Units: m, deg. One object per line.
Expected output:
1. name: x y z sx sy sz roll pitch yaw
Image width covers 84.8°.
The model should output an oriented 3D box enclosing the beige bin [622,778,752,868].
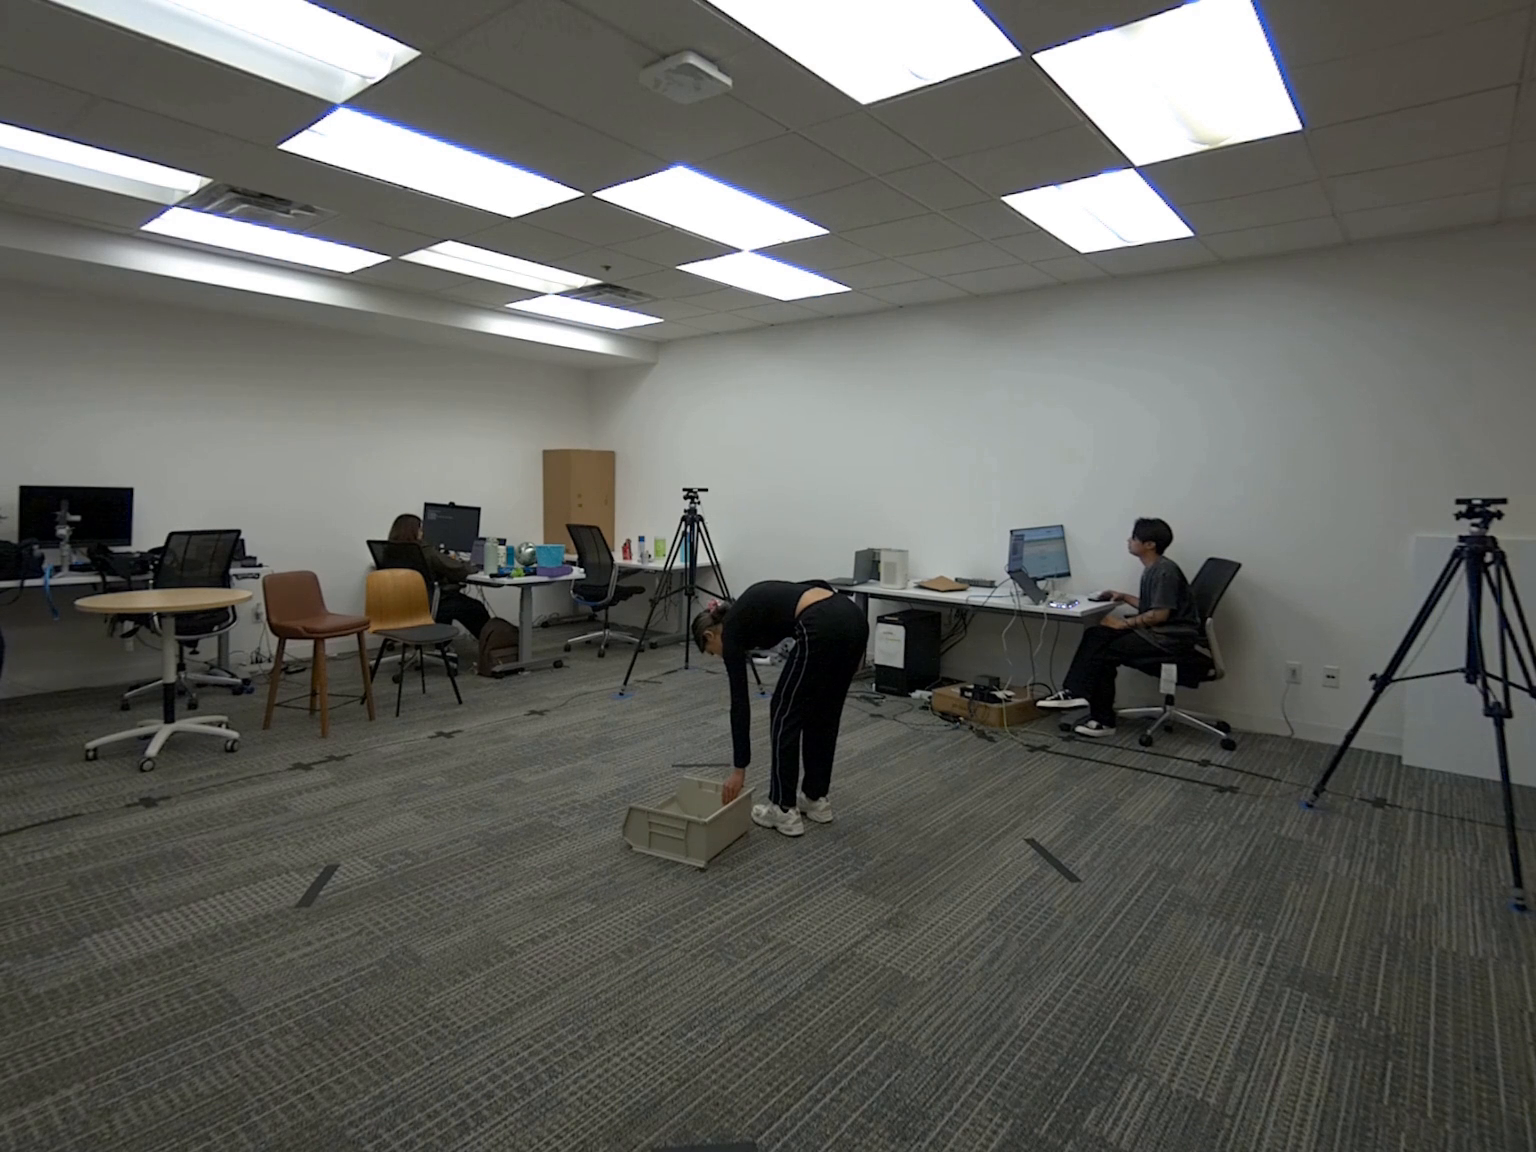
1. beige bin: -0.318 0.955 3.376 0.388 0.188 0.412 4 5 26
